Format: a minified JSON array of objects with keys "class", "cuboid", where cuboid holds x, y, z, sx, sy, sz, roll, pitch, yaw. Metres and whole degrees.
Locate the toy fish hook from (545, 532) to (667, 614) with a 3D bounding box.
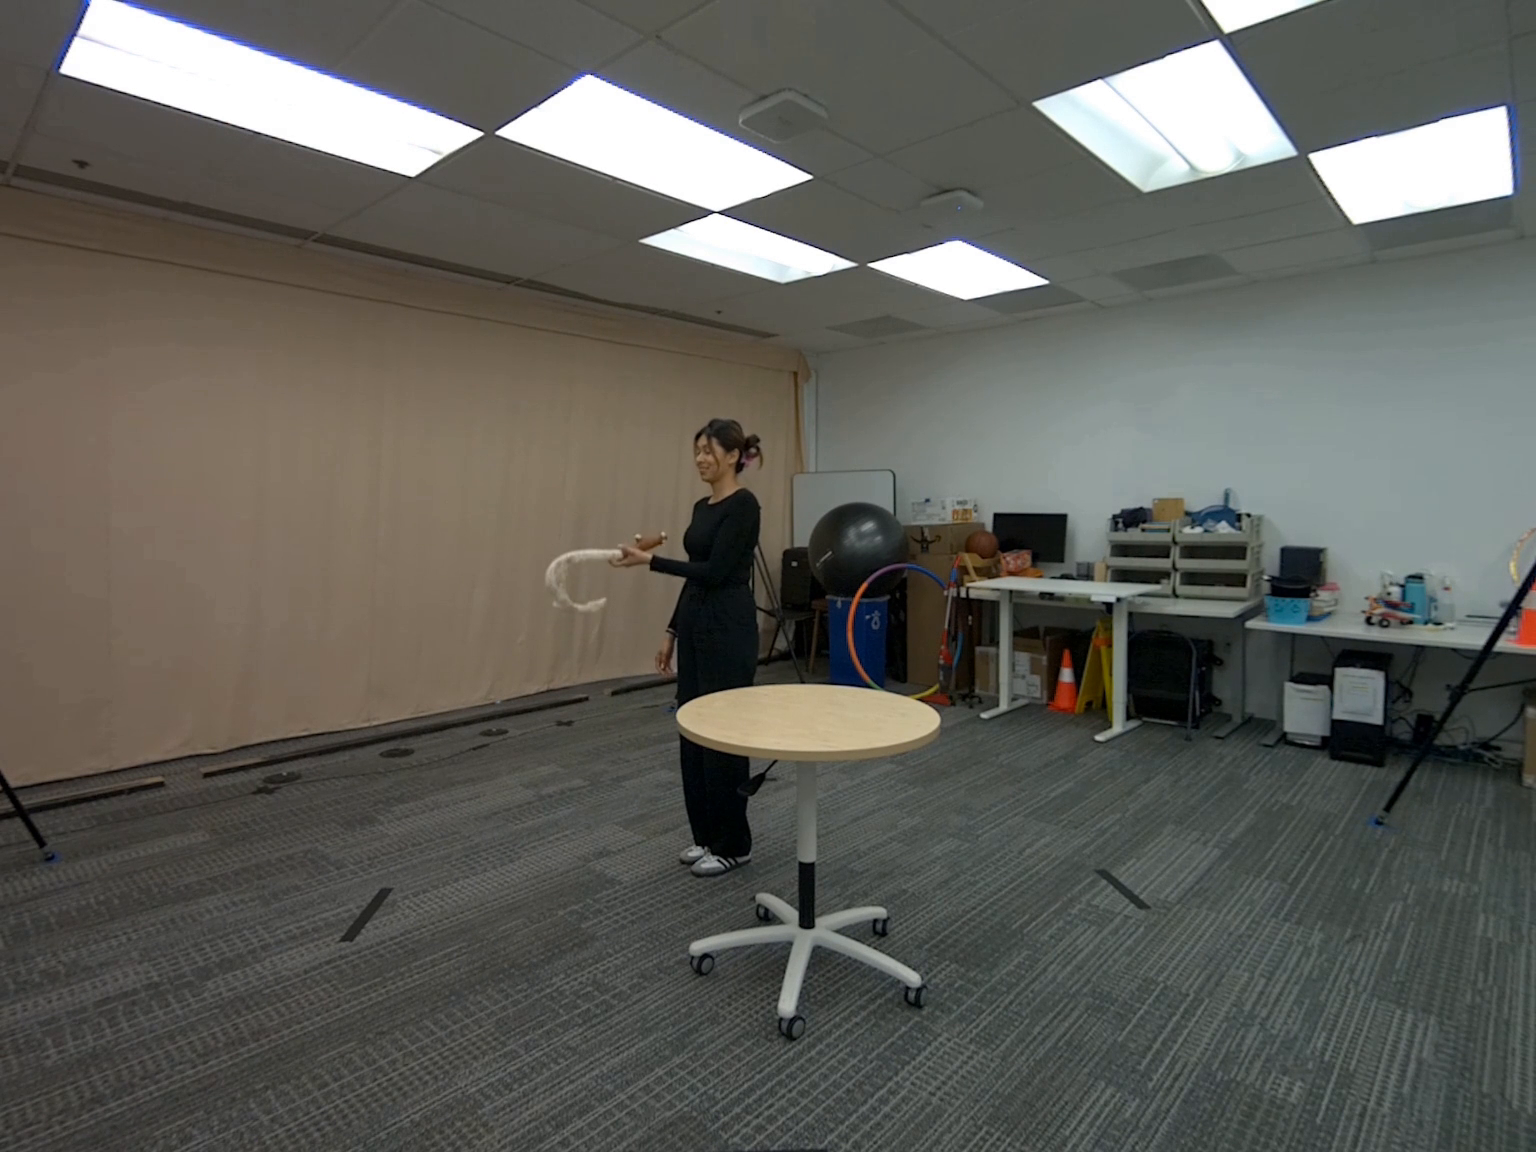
[{"class":"toy fish hook","cuboid":[-0.547,-0.018,3.018,0.497,0.222,0.050,-24,12,-30]}]
